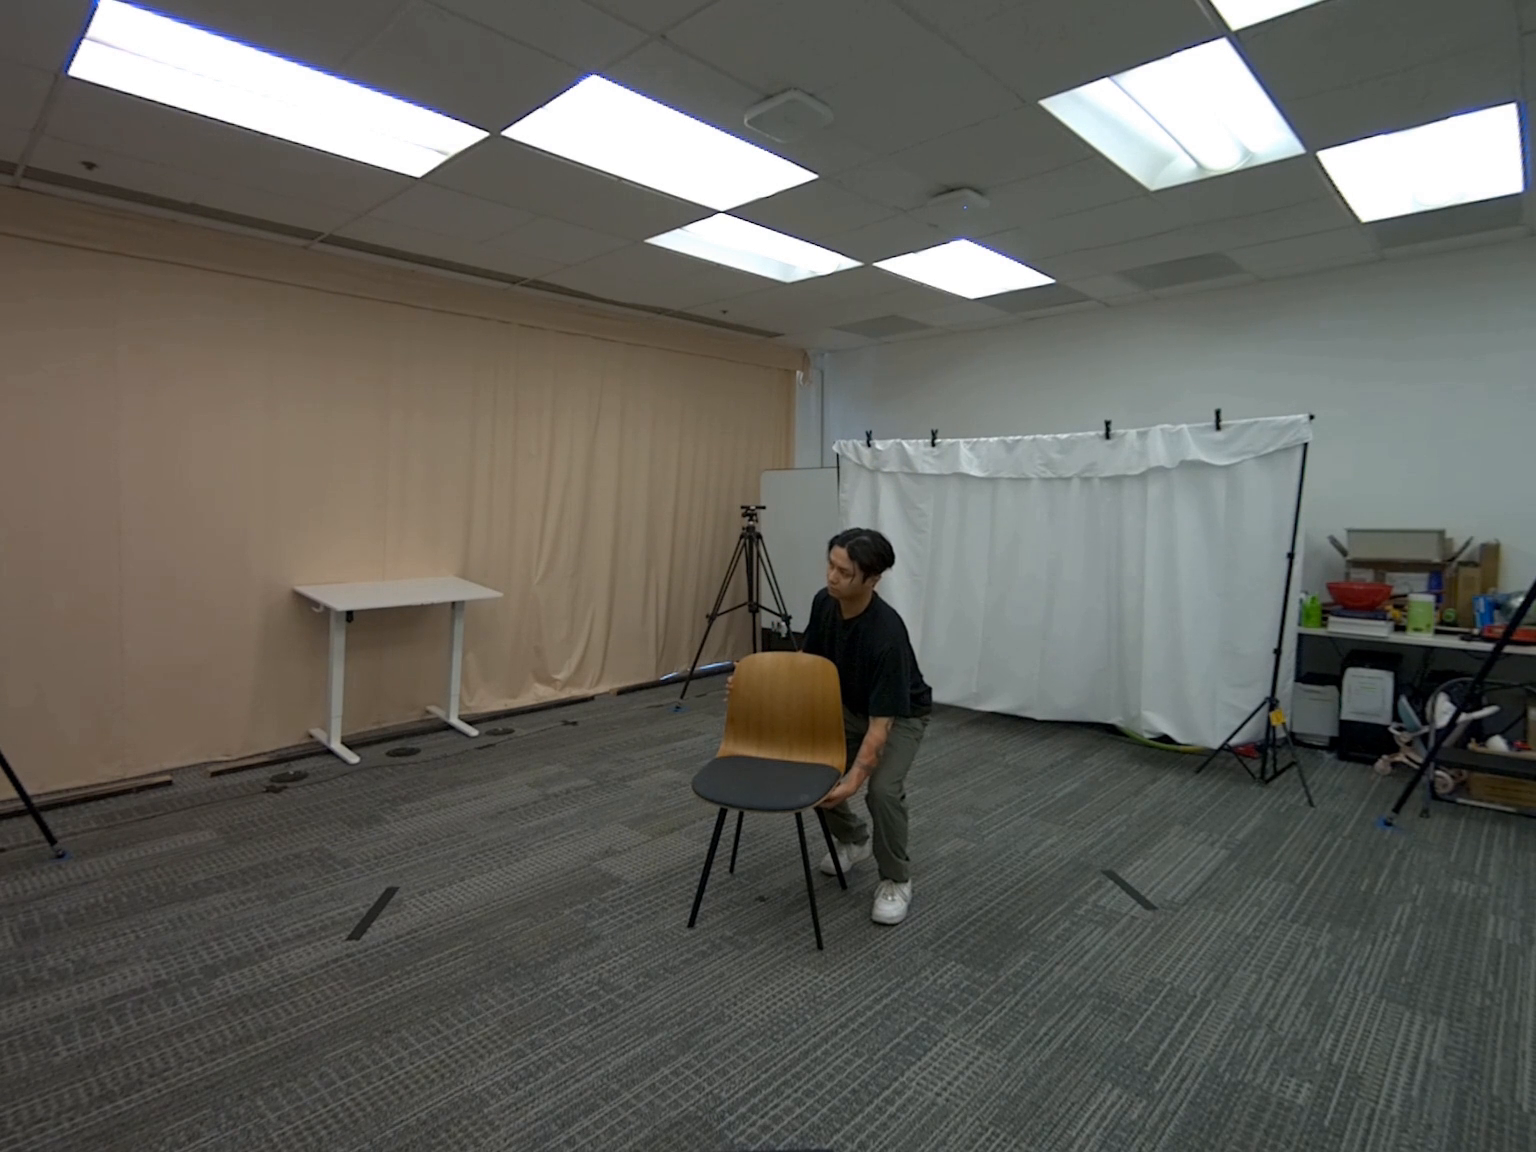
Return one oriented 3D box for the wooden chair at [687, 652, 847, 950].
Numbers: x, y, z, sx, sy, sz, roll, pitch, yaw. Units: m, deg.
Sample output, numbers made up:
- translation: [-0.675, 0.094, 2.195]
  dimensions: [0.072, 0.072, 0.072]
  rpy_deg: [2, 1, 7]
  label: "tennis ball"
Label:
- translation: [0.012, 0.726, 2.882]
  dimensions: [0.487, 0.878, 0.513]
  rpy_deg: [1, -1, 17]
  label: "wooden chair"
